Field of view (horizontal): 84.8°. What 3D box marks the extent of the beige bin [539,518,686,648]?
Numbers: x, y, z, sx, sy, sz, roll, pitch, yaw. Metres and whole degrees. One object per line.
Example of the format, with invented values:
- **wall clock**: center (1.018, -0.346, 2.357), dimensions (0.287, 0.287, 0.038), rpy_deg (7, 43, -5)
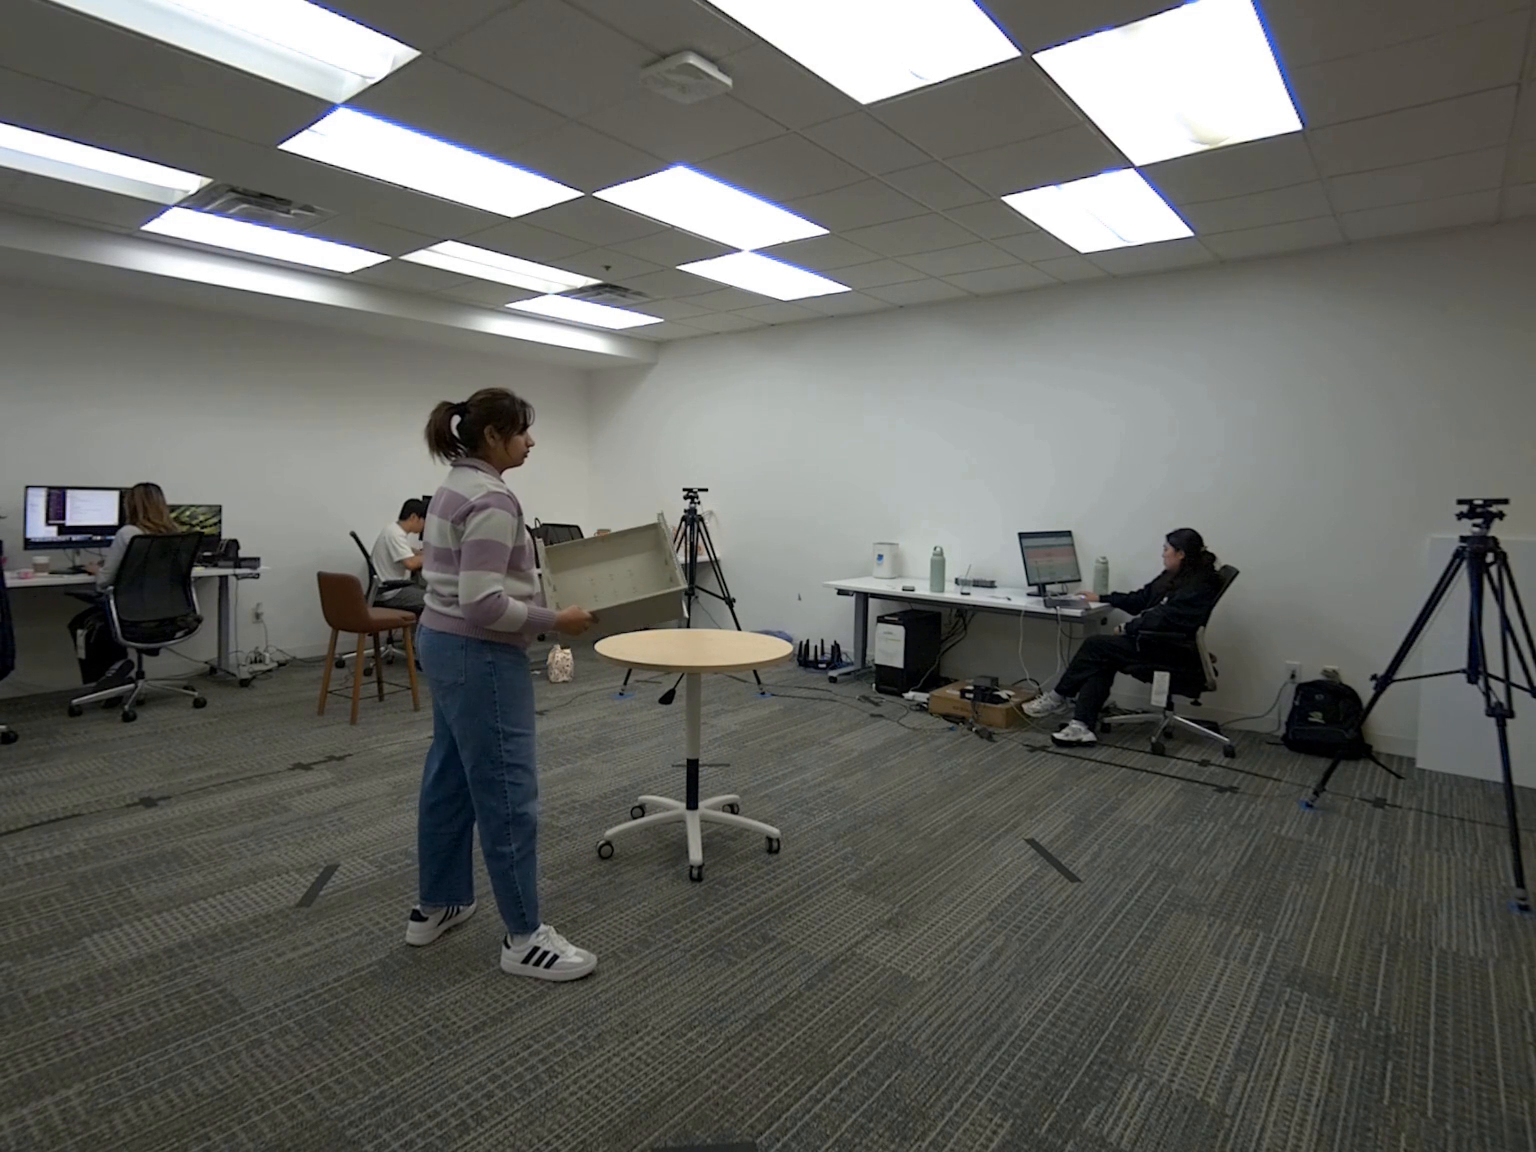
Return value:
- **beige bin**: center (-0.519, -0.003, 2.722), dimensions (0.419, 0.392, 0.183), rpy_deg (-14, -38, -11)
